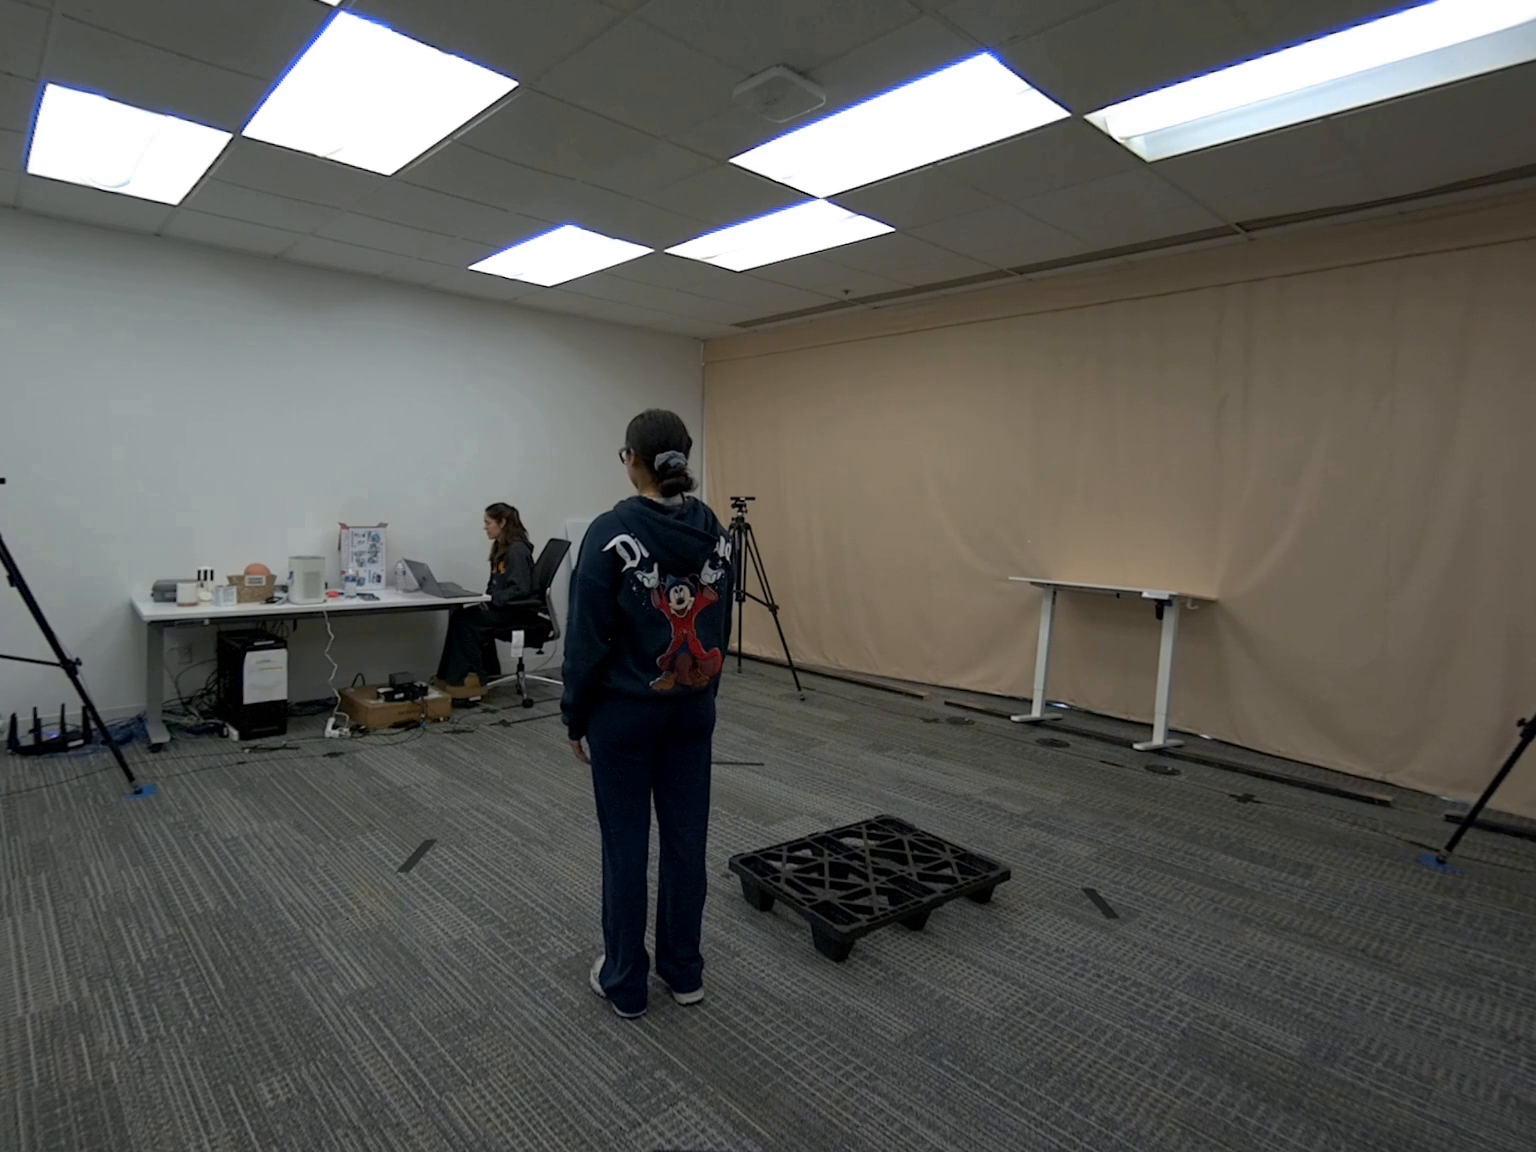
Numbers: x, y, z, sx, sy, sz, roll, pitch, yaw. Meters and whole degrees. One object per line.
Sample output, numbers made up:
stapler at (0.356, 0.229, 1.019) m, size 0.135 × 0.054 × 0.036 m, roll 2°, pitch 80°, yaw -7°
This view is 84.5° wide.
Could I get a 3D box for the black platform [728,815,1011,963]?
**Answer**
black platform at (0.340, 1.066, 2.935) m, size 0.788 × 0.143 × 0.620 m, roll -2°, pitch 6°, yaw -37°
